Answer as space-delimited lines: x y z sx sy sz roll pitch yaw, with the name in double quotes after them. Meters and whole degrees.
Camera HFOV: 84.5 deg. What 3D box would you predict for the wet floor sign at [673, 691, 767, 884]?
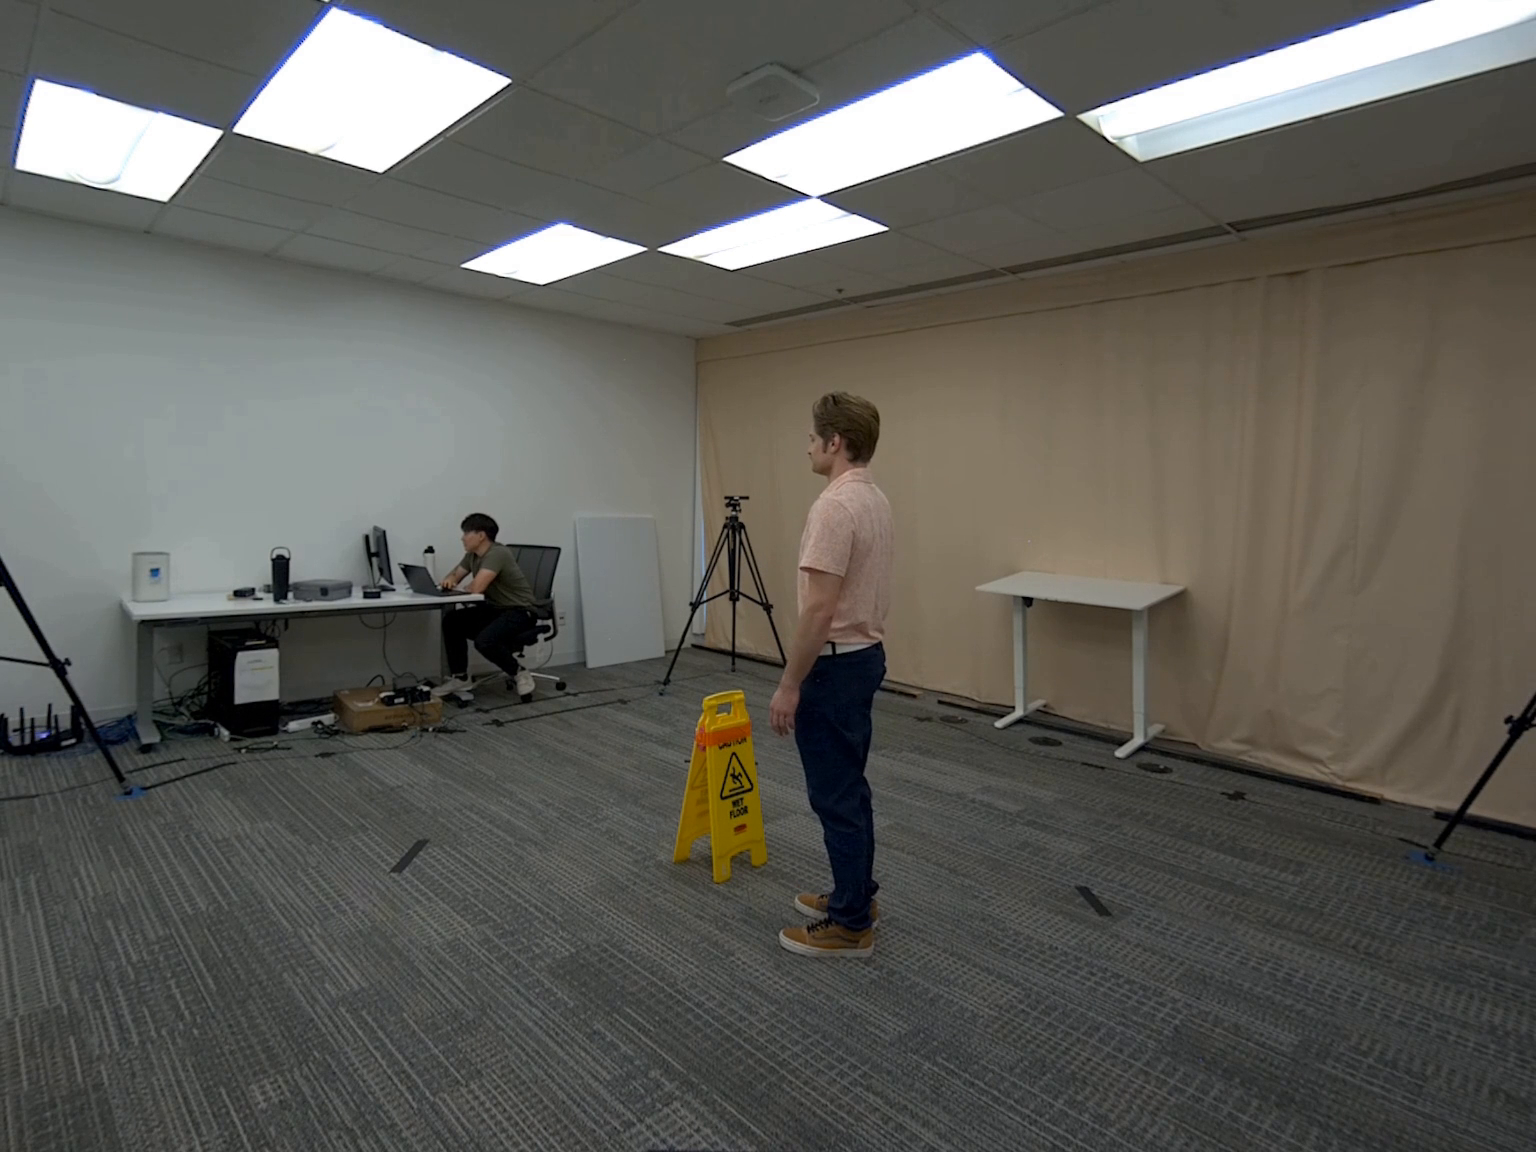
-0.177 0.768 3.190 0.297 0.644 0.276 5 5 43 "wet floor sign"
